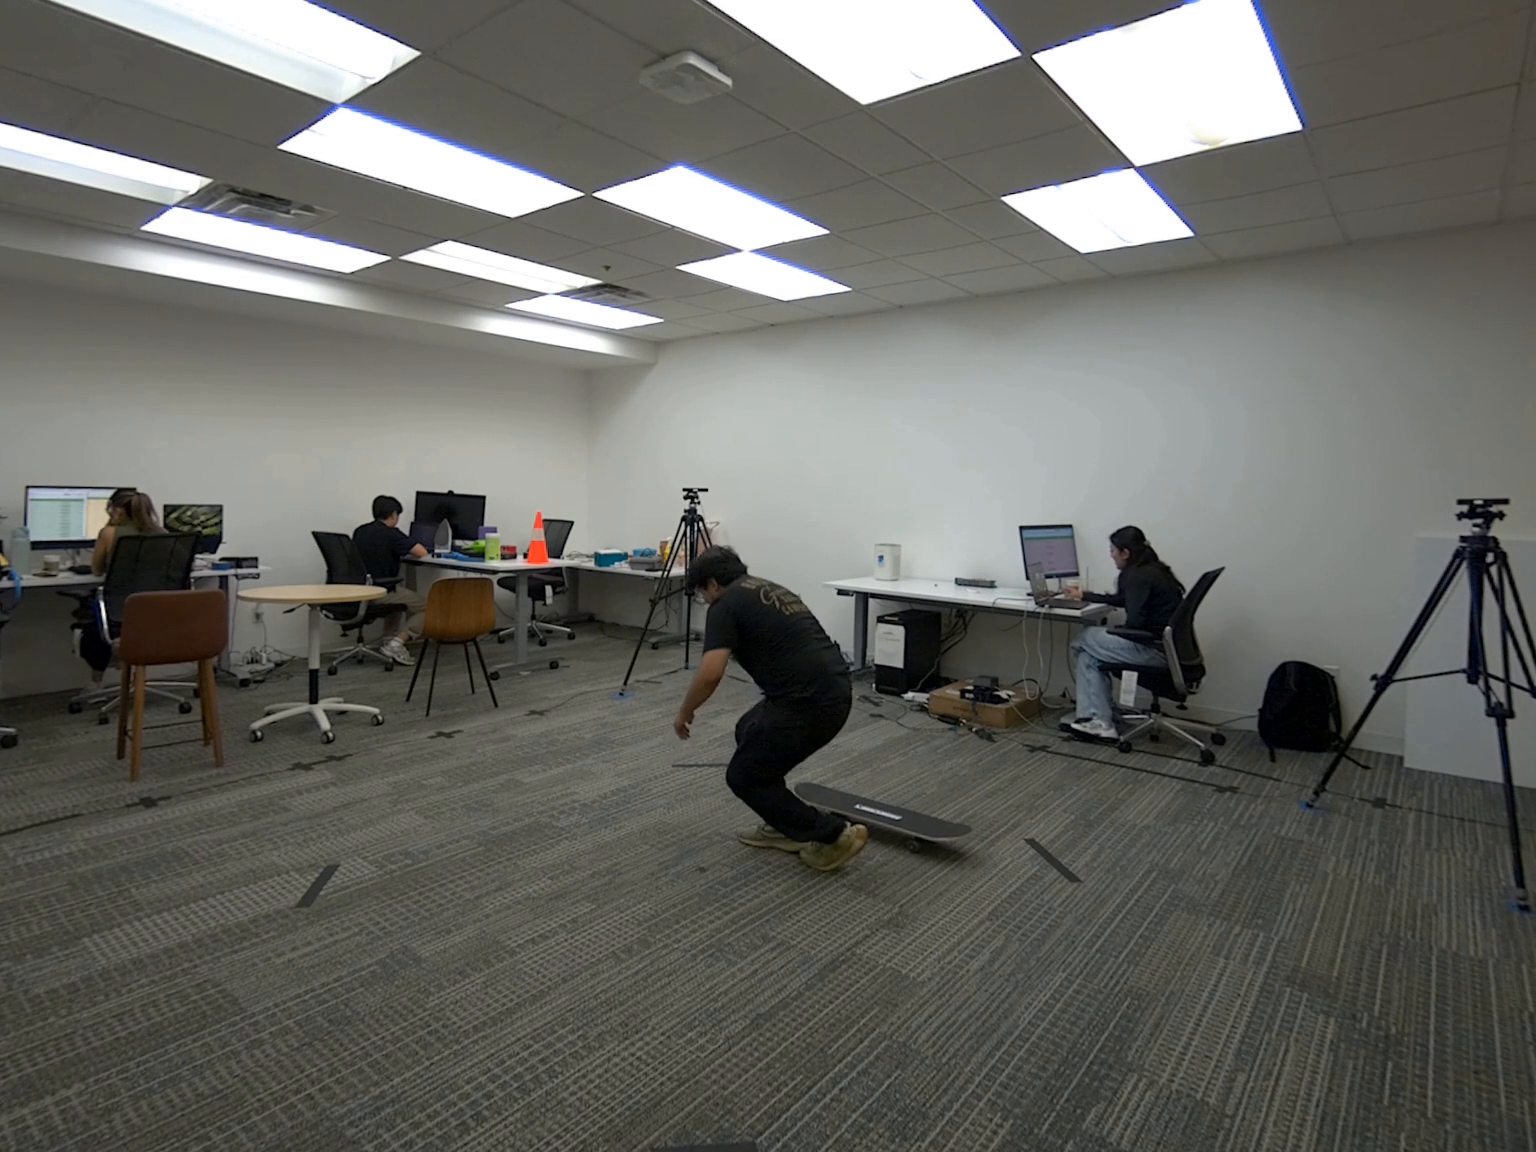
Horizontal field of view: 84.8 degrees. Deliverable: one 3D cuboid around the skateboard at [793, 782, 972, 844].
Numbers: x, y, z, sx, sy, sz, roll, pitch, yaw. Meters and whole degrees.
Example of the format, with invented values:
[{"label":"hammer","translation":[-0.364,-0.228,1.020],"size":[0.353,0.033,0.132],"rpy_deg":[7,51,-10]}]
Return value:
[{"label":"skateboard","translation":[0.438,0.992,3.481],"size":[0.812,0.110,0.188],"rpy_deg":[6,9,37]}]
